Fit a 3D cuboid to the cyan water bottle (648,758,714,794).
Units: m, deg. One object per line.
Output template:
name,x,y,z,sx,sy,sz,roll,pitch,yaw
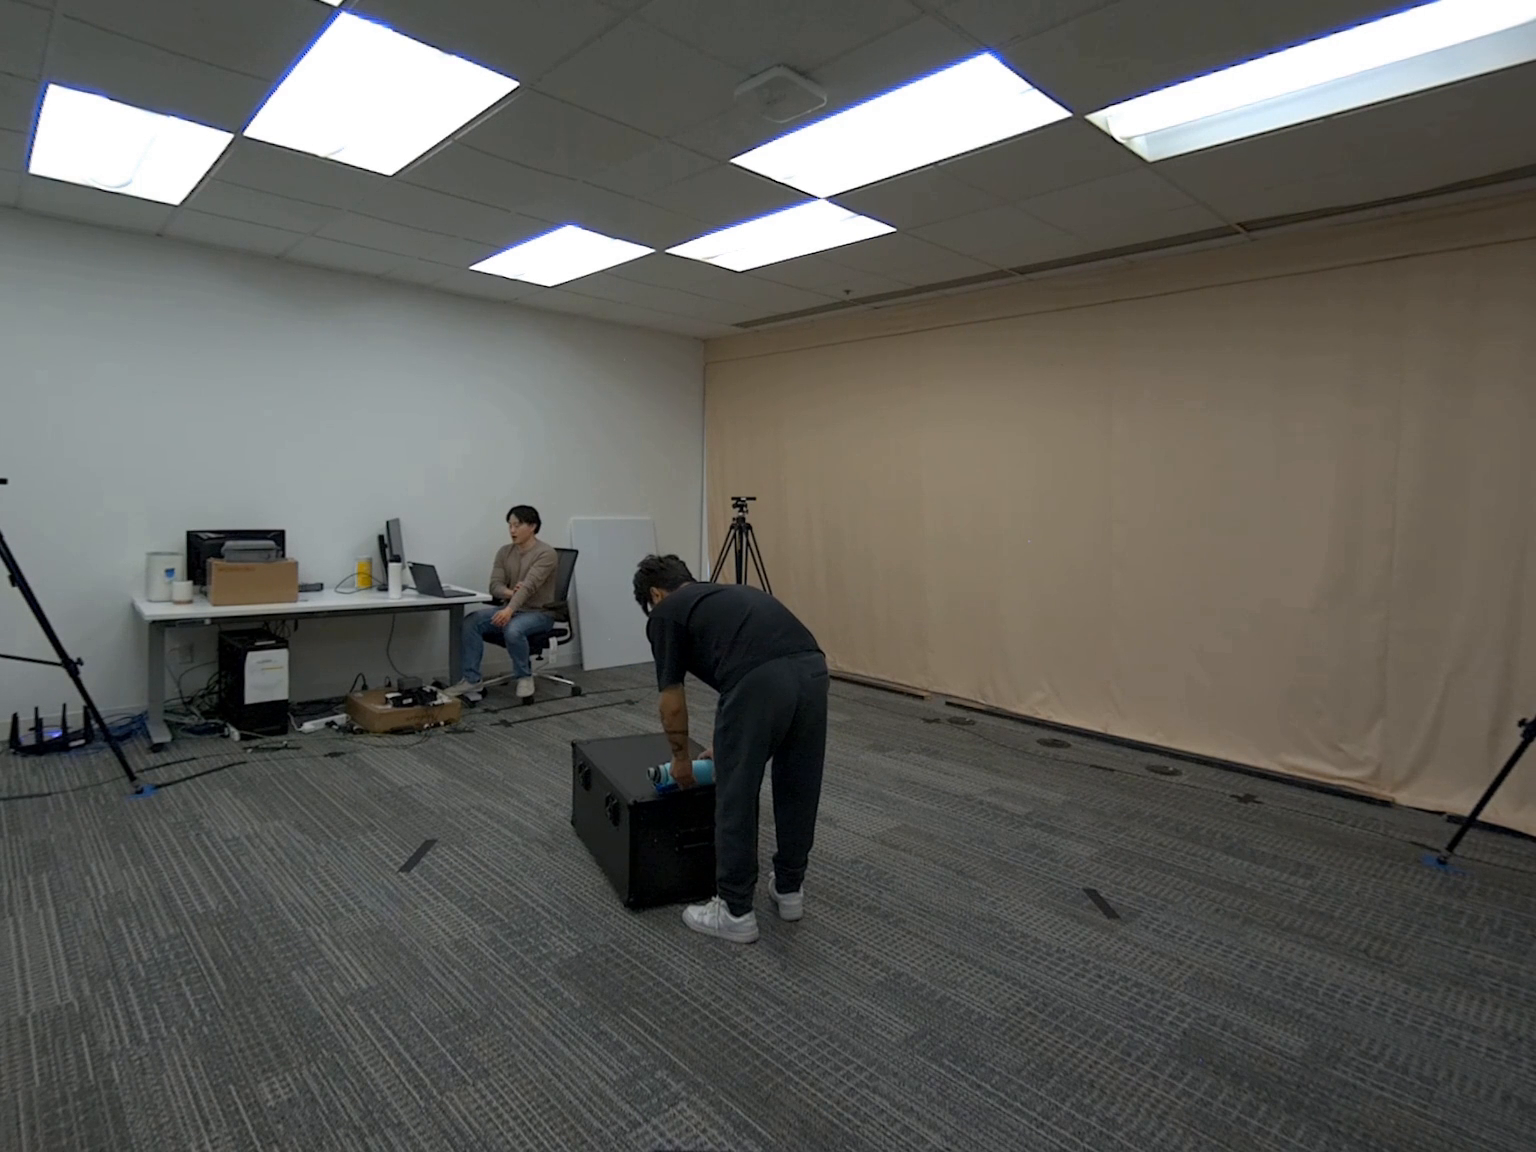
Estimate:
cyan water bottle,-0.286,0.689,2.941,0.278,0.092,0.094,2,4,-22
